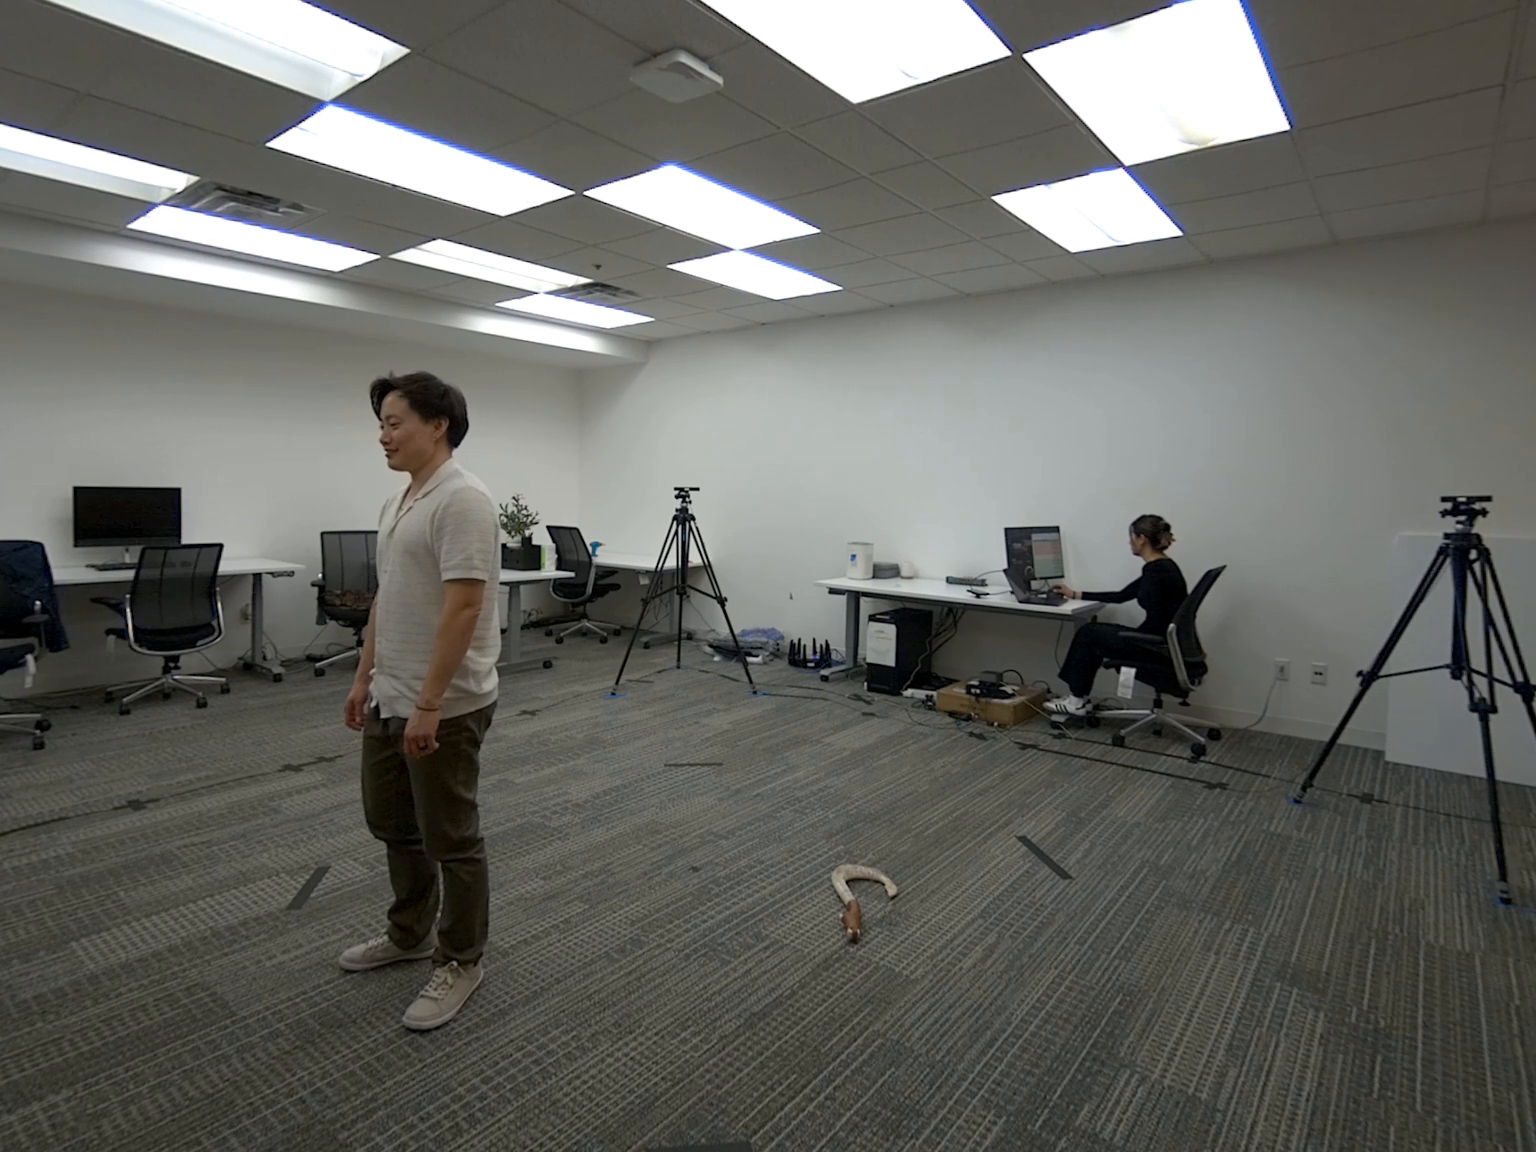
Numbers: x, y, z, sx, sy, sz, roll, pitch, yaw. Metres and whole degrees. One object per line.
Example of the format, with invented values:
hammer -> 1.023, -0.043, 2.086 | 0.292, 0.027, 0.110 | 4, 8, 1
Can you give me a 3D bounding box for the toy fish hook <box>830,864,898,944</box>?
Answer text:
toy fish hook -> 0.323, 1.080, 2.844 | 0.226, 0.048, 0.506 | 0, 6, 4
